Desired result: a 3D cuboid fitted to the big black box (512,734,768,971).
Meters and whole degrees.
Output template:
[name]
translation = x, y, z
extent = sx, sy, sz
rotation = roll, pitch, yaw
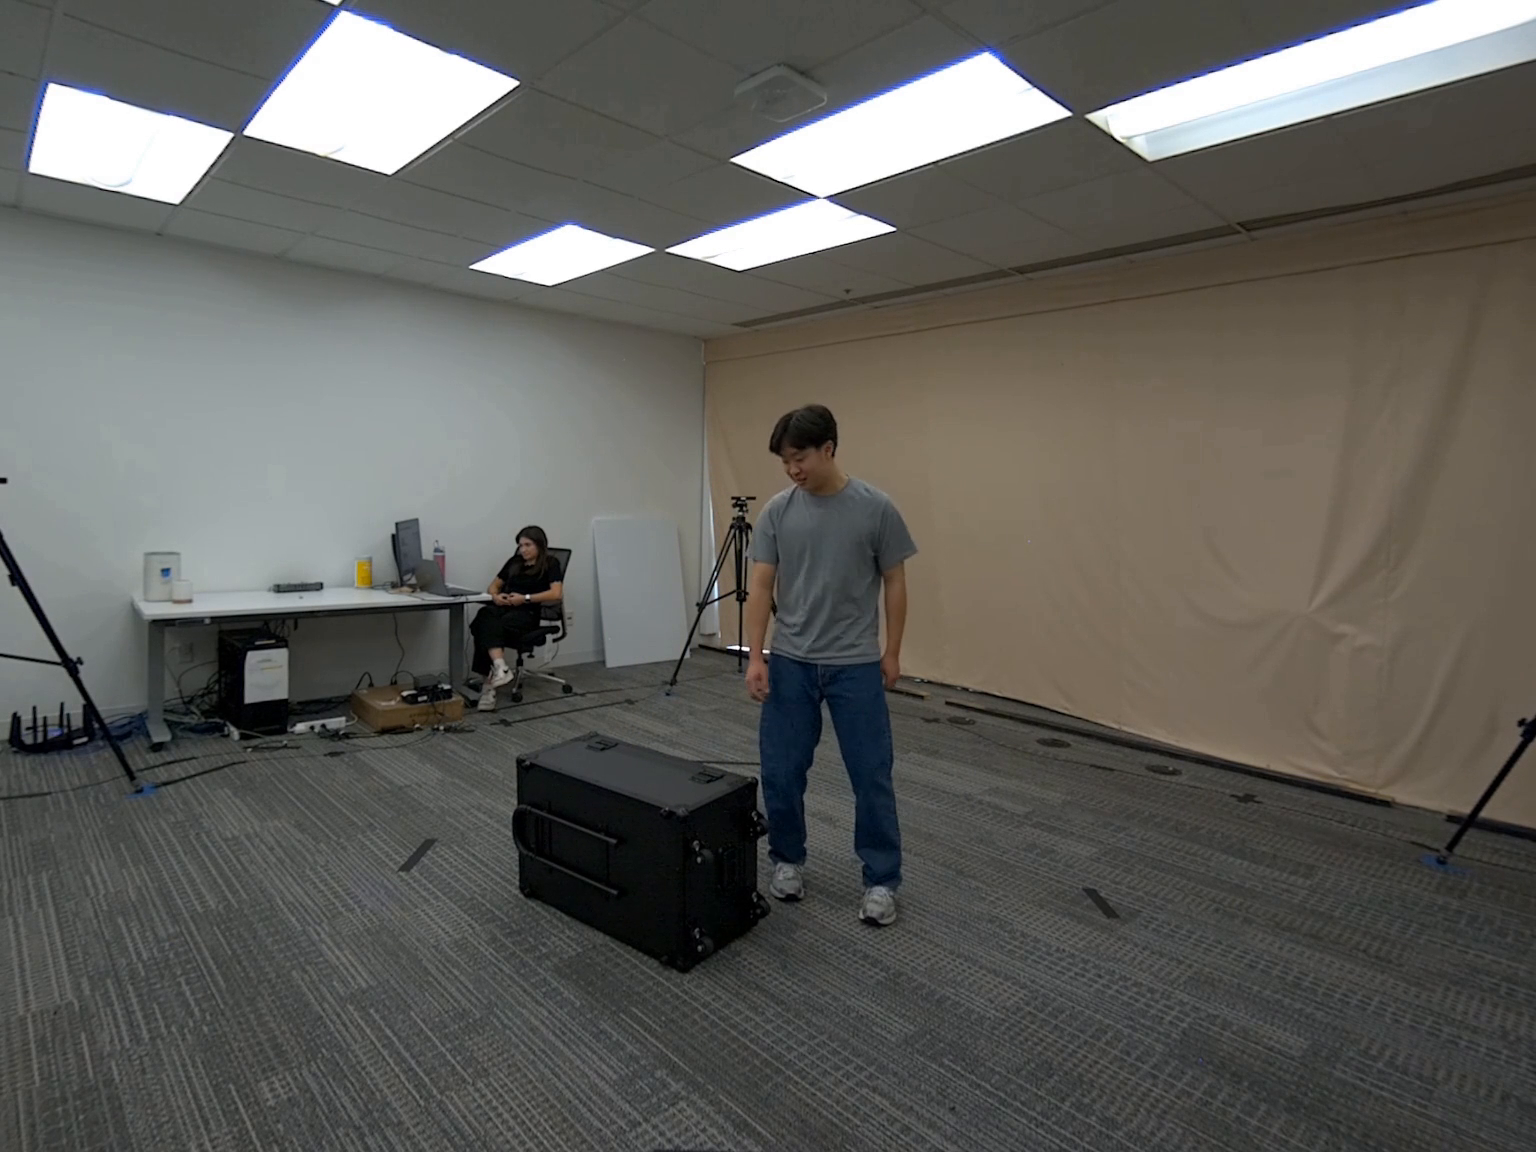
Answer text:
[big black box]
translation = -0.438, 0.872, 2.775
extent = 0.883, 0.519, 0.388
rotation = 5, 7, 37
